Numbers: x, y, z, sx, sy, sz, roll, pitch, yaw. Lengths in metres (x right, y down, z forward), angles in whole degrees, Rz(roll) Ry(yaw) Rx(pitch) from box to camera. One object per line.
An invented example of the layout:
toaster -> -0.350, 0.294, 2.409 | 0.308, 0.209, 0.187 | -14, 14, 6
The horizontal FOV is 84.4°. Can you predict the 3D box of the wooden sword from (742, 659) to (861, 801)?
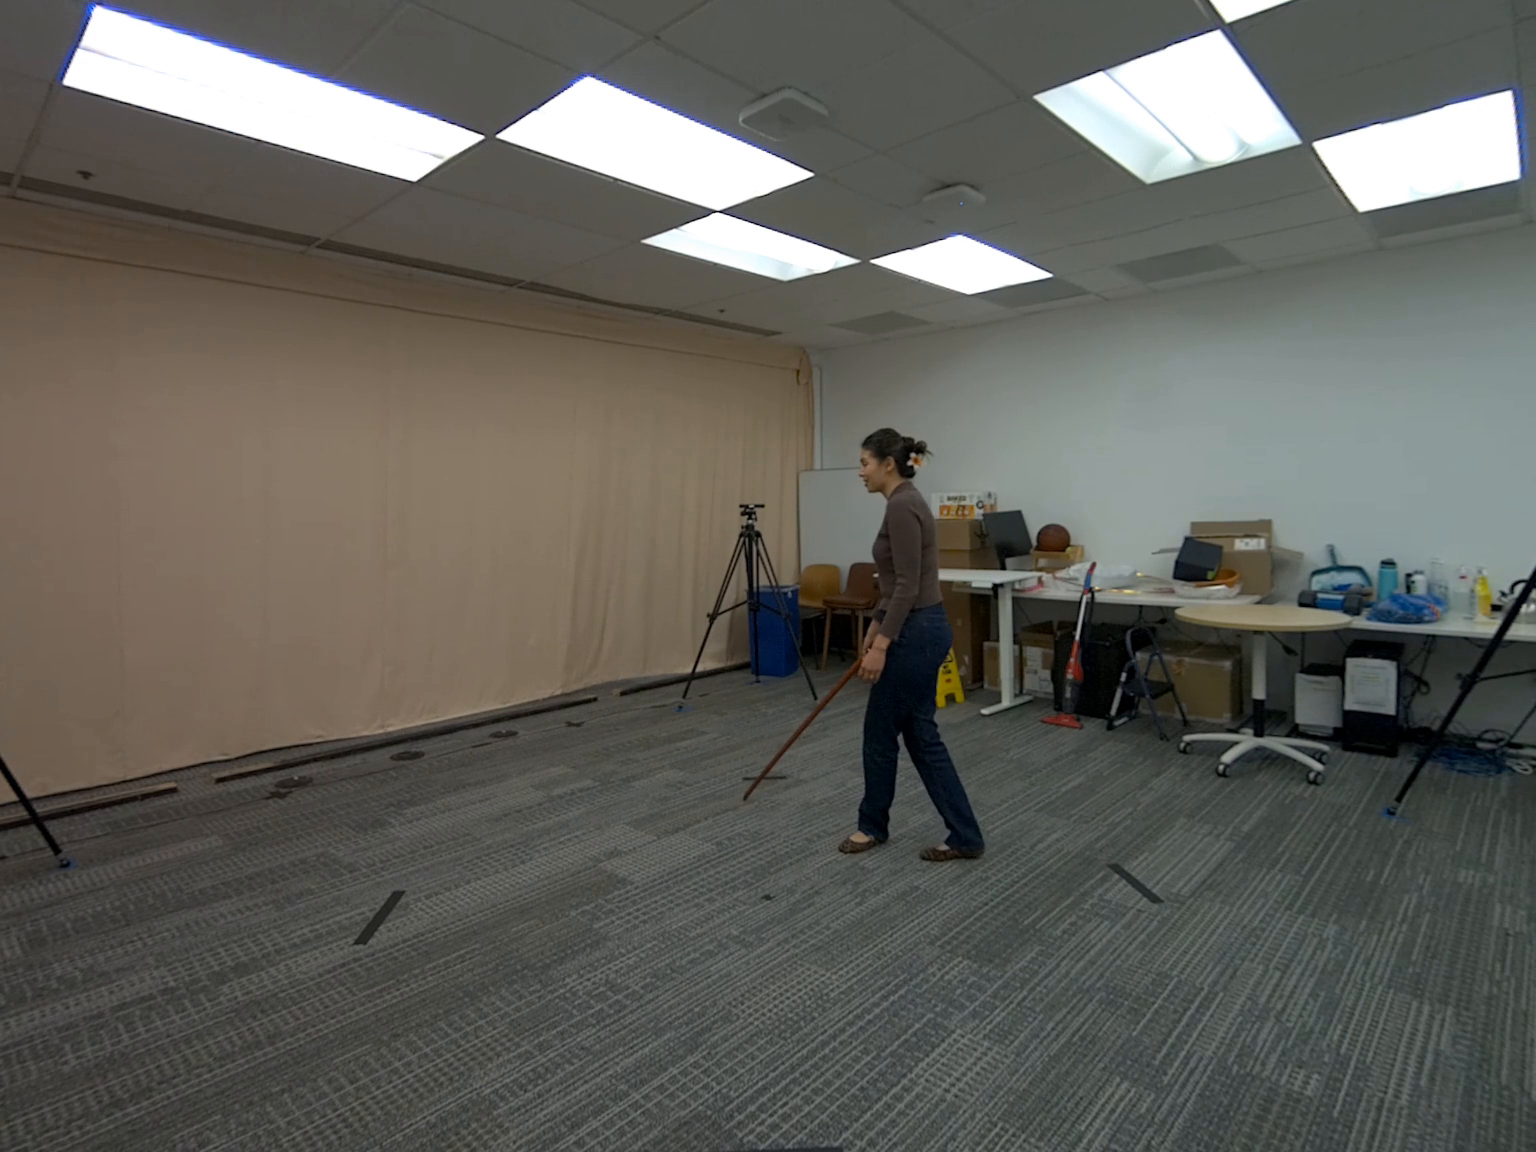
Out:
wooden sword -> 0.166, 0.669, 3.806 | 0.023, 1.028, 0.052 | 29, 21, -27
